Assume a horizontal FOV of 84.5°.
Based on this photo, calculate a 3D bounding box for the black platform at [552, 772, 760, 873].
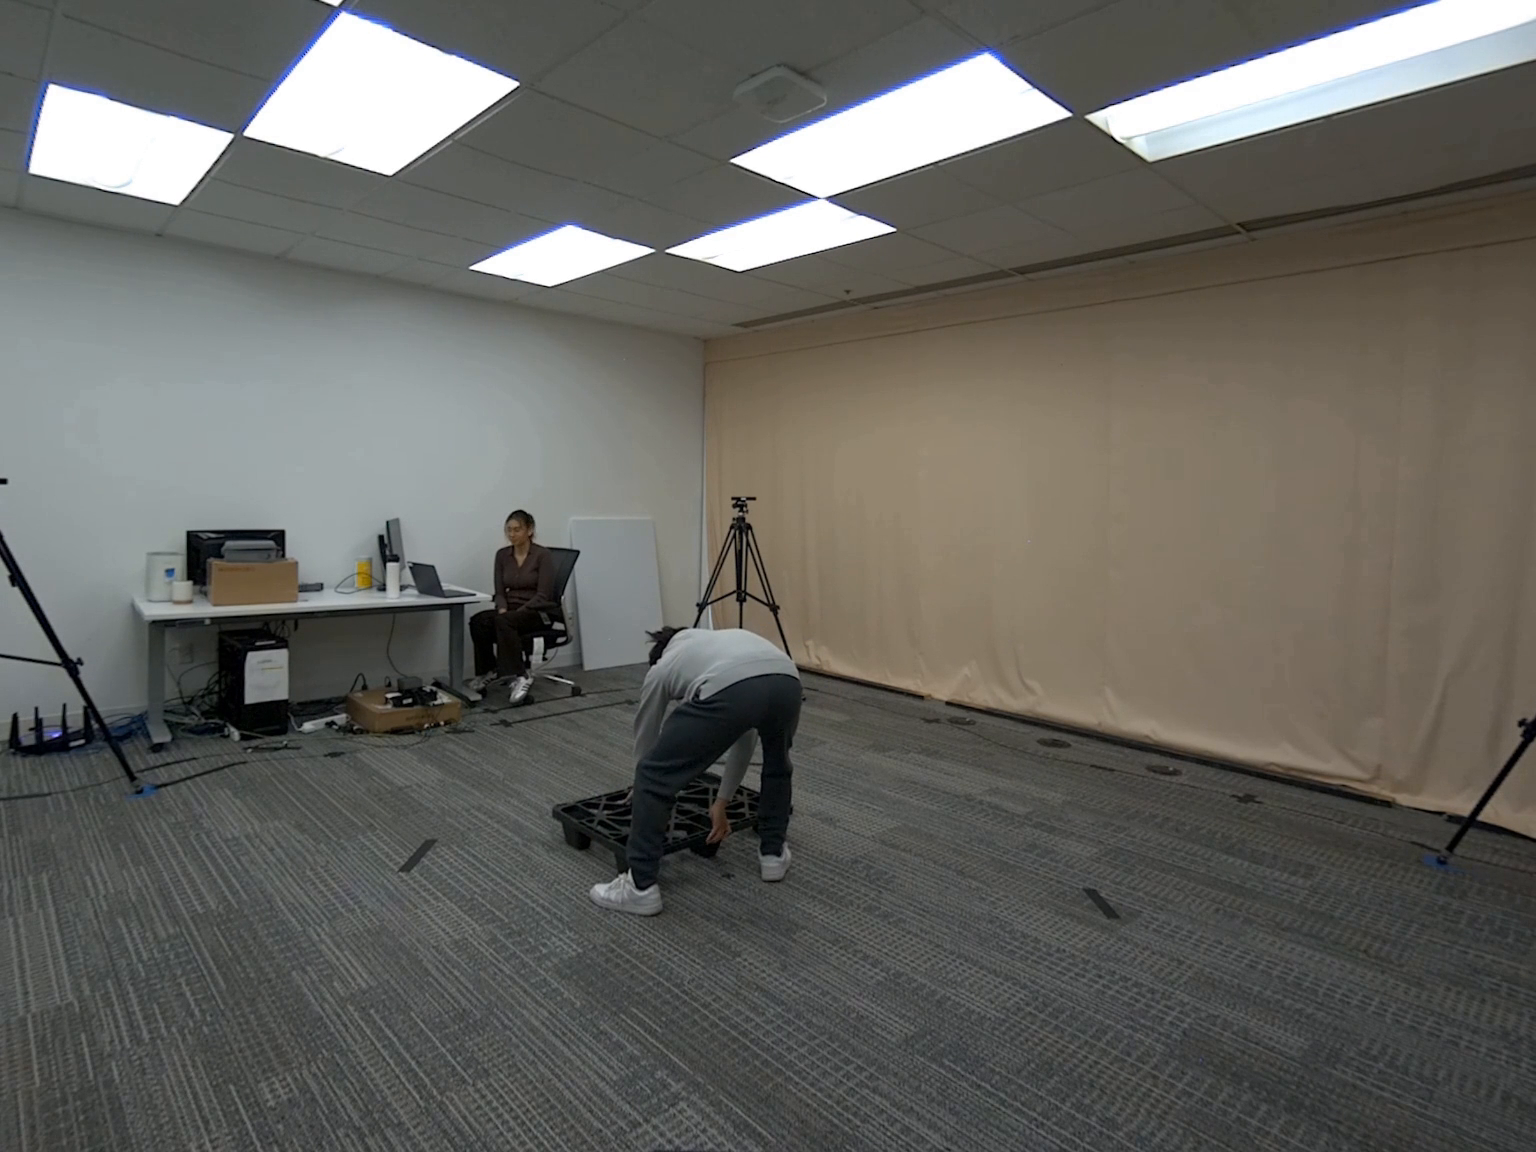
[{"bbox_3d":[-0.395,1.005,3.434,0.787,0.143,0.620,-3,6,-44],"label":"black platform"}]
